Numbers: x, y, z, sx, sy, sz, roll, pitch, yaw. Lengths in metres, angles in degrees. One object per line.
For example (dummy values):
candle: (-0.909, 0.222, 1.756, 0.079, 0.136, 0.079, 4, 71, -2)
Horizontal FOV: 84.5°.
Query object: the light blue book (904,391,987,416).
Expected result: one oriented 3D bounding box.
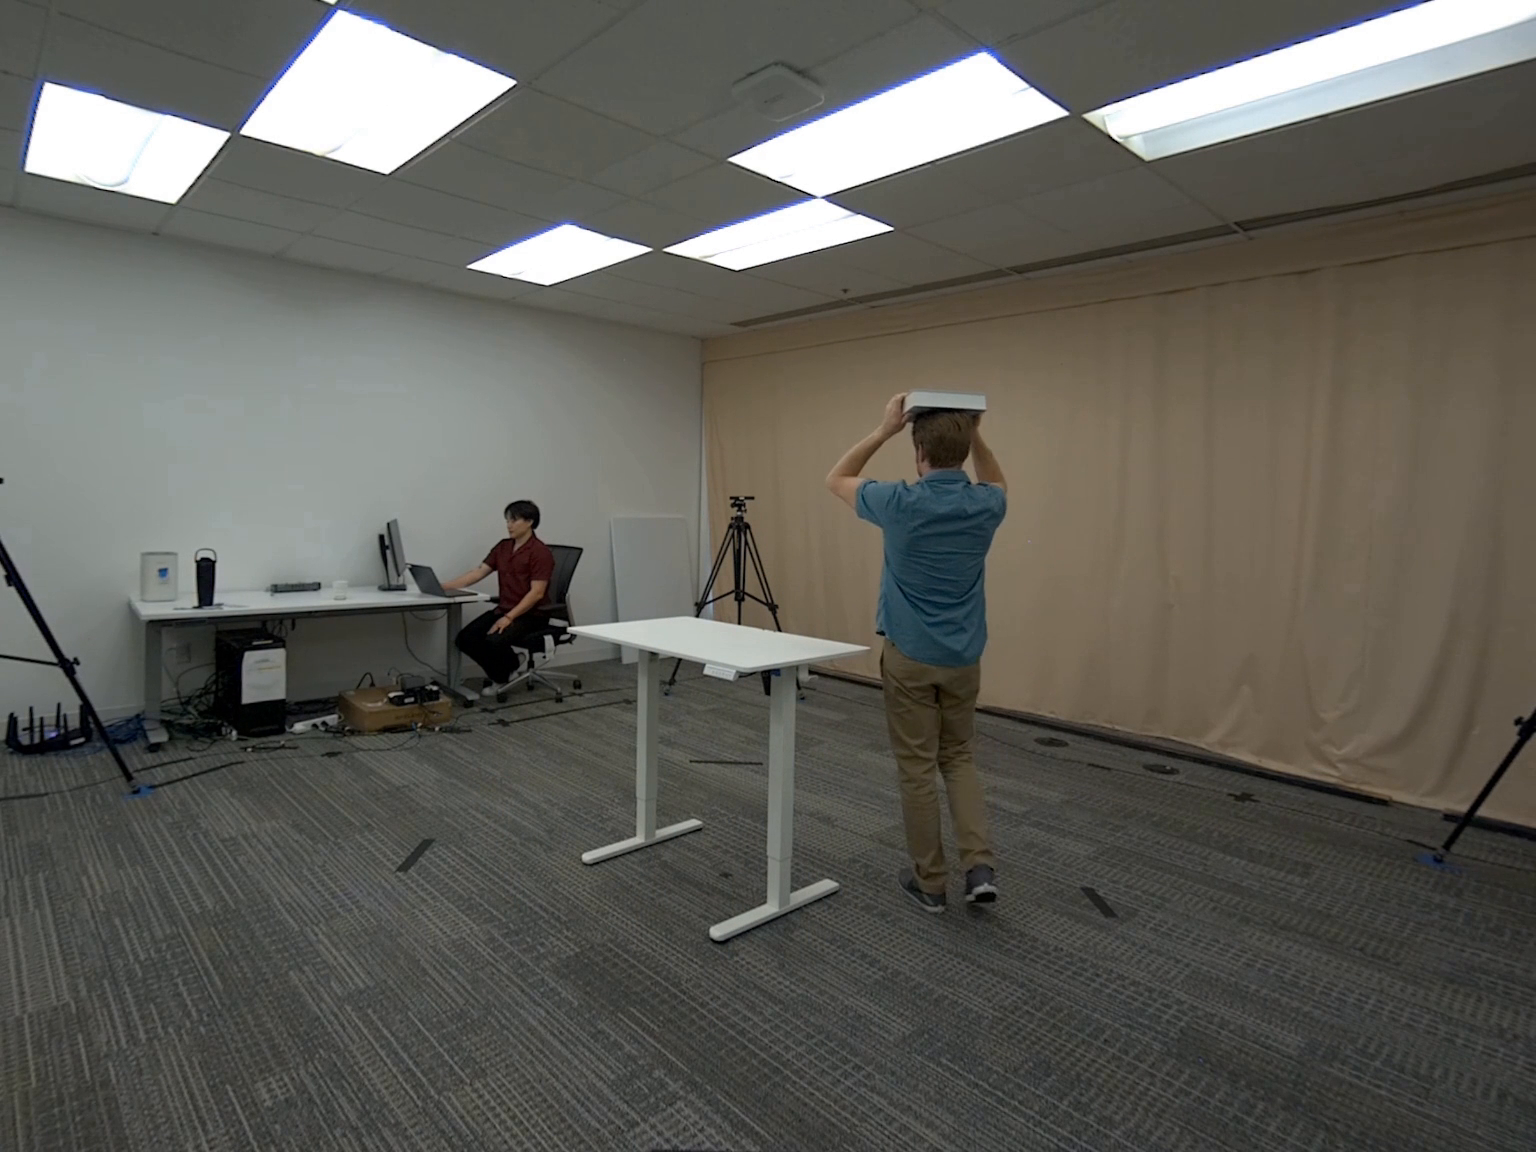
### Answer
light blue book: (0.575, -0.564, 2.838, 0.259, 0.059, 0.191, 2, -8, -10)
